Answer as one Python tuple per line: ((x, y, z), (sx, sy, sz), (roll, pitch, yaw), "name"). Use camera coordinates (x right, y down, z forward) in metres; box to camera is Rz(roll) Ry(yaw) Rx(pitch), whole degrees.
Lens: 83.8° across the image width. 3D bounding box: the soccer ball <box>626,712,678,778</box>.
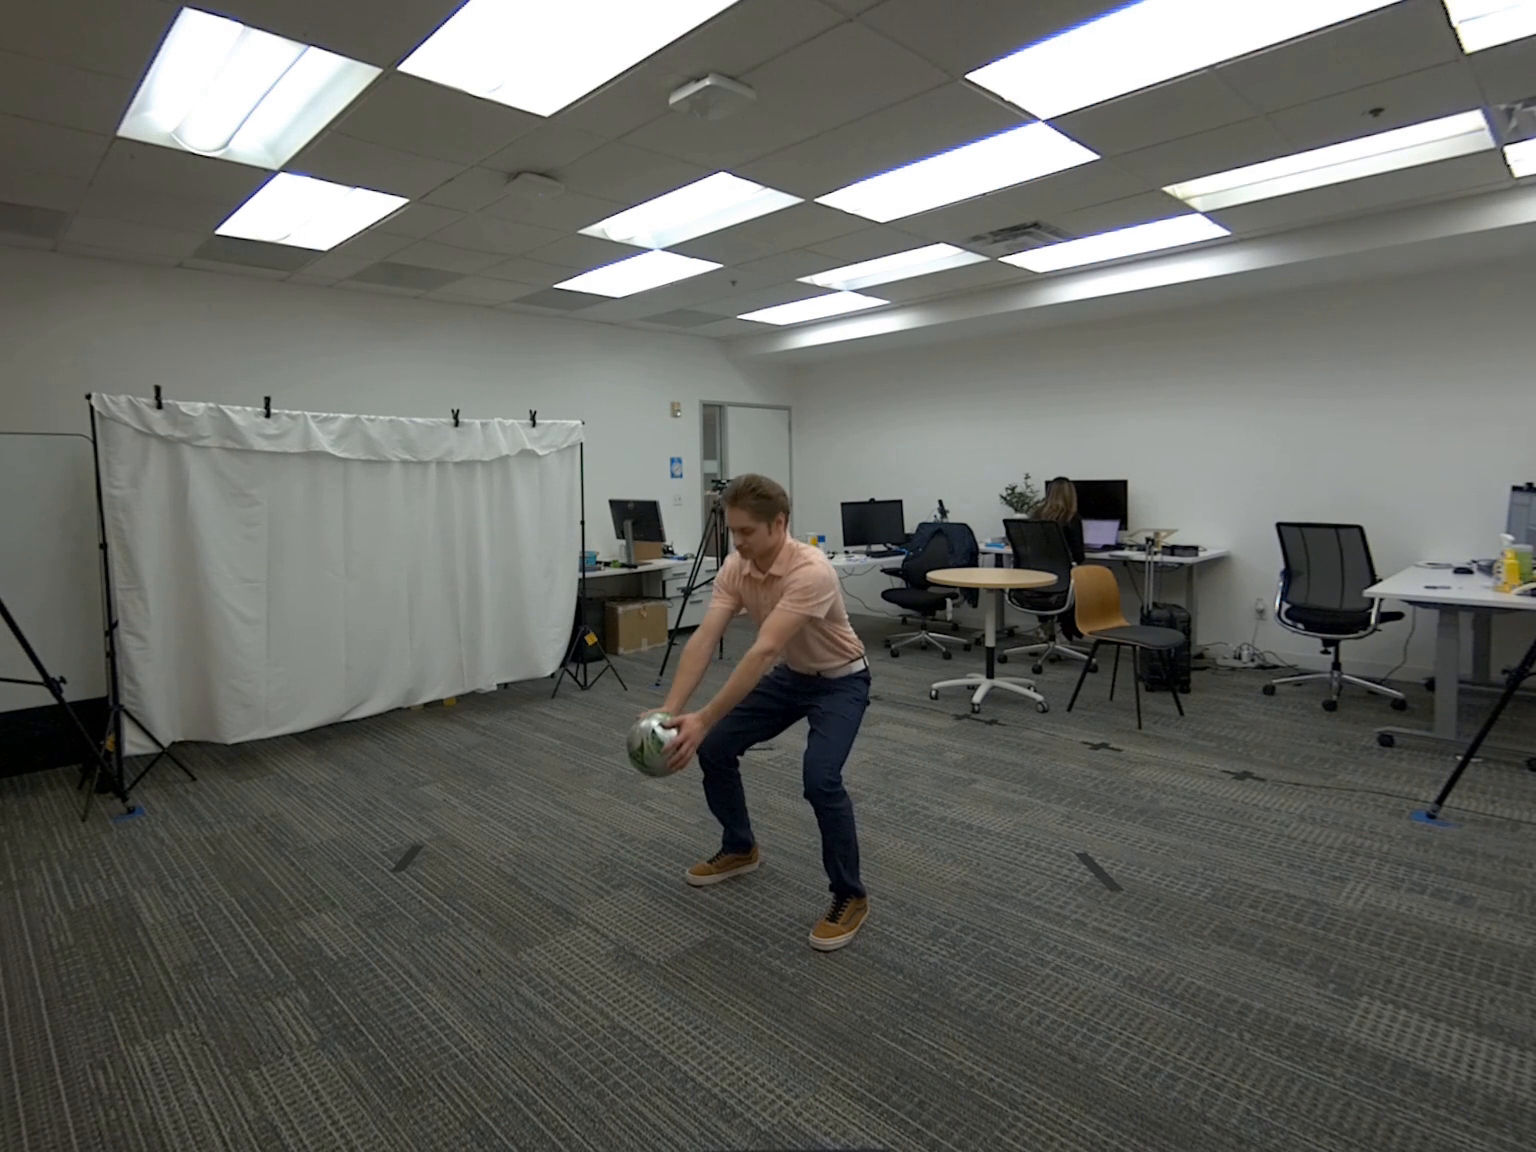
((-0.319, 0.516, 2.485), (0.187, 0.187, 0.188), (-1, 5, -2), "soccer ball")
